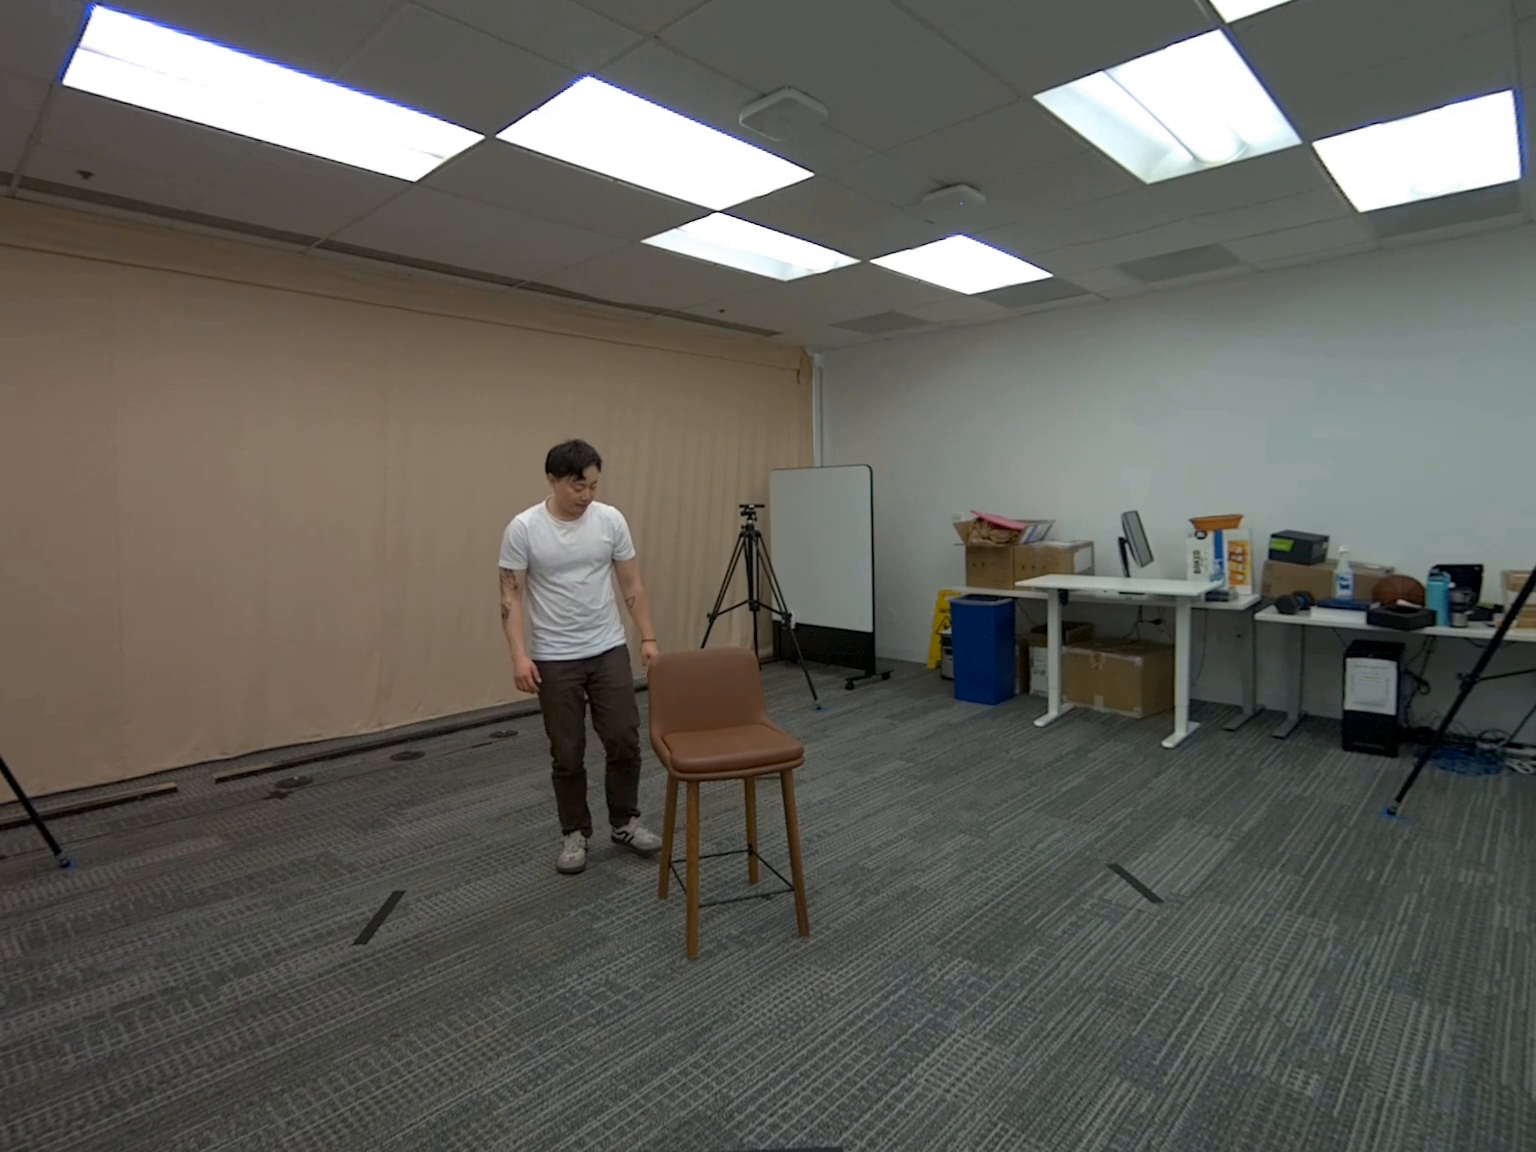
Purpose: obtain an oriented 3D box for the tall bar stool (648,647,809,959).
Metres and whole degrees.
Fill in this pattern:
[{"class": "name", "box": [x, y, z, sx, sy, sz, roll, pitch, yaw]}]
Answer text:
[{"class": "tall bar stool", "box": [-0.145, 0.719, 2.838, 0.447, 0.889, 0.477, -2, 2, -21]}]
